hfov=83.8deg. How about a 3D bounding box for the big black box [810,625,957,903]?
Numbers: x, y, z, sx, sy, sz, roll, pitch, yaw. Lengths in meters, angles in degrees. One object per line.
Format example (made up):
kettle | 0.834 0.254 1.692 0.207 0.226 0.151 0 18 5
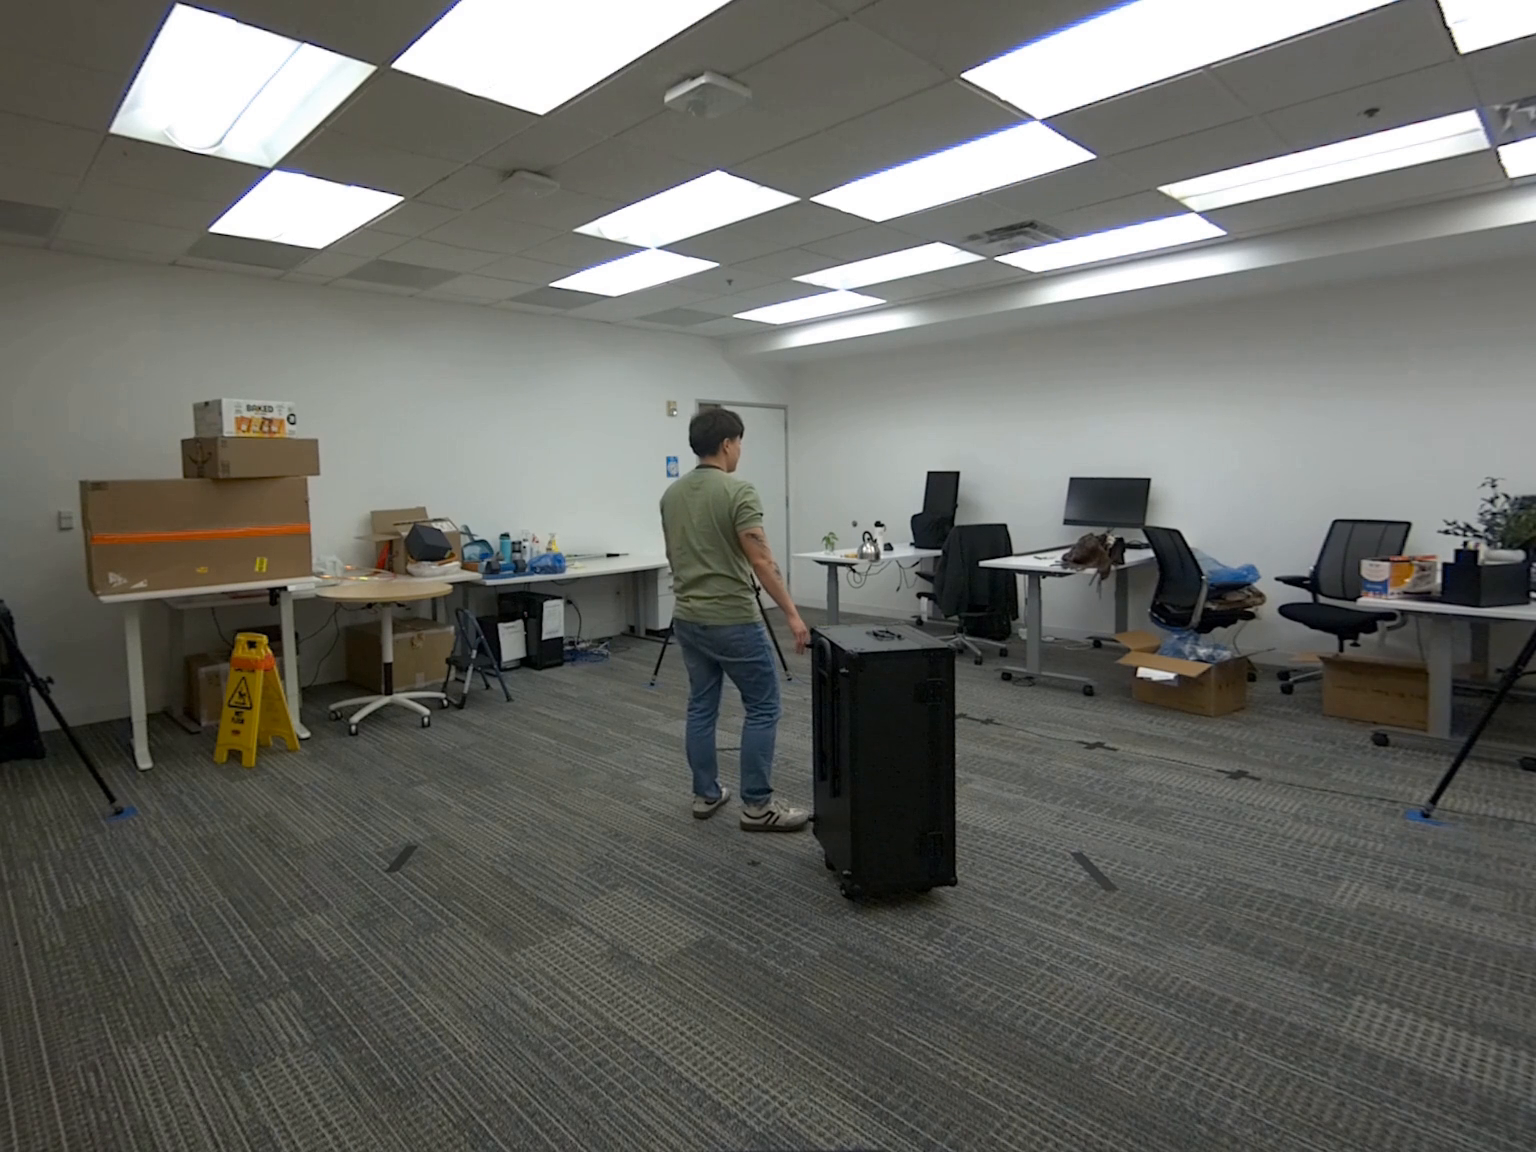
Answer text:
big black box | 0.373 0.567 2.950 0.392 0.859 0.528 -2 4 -11
